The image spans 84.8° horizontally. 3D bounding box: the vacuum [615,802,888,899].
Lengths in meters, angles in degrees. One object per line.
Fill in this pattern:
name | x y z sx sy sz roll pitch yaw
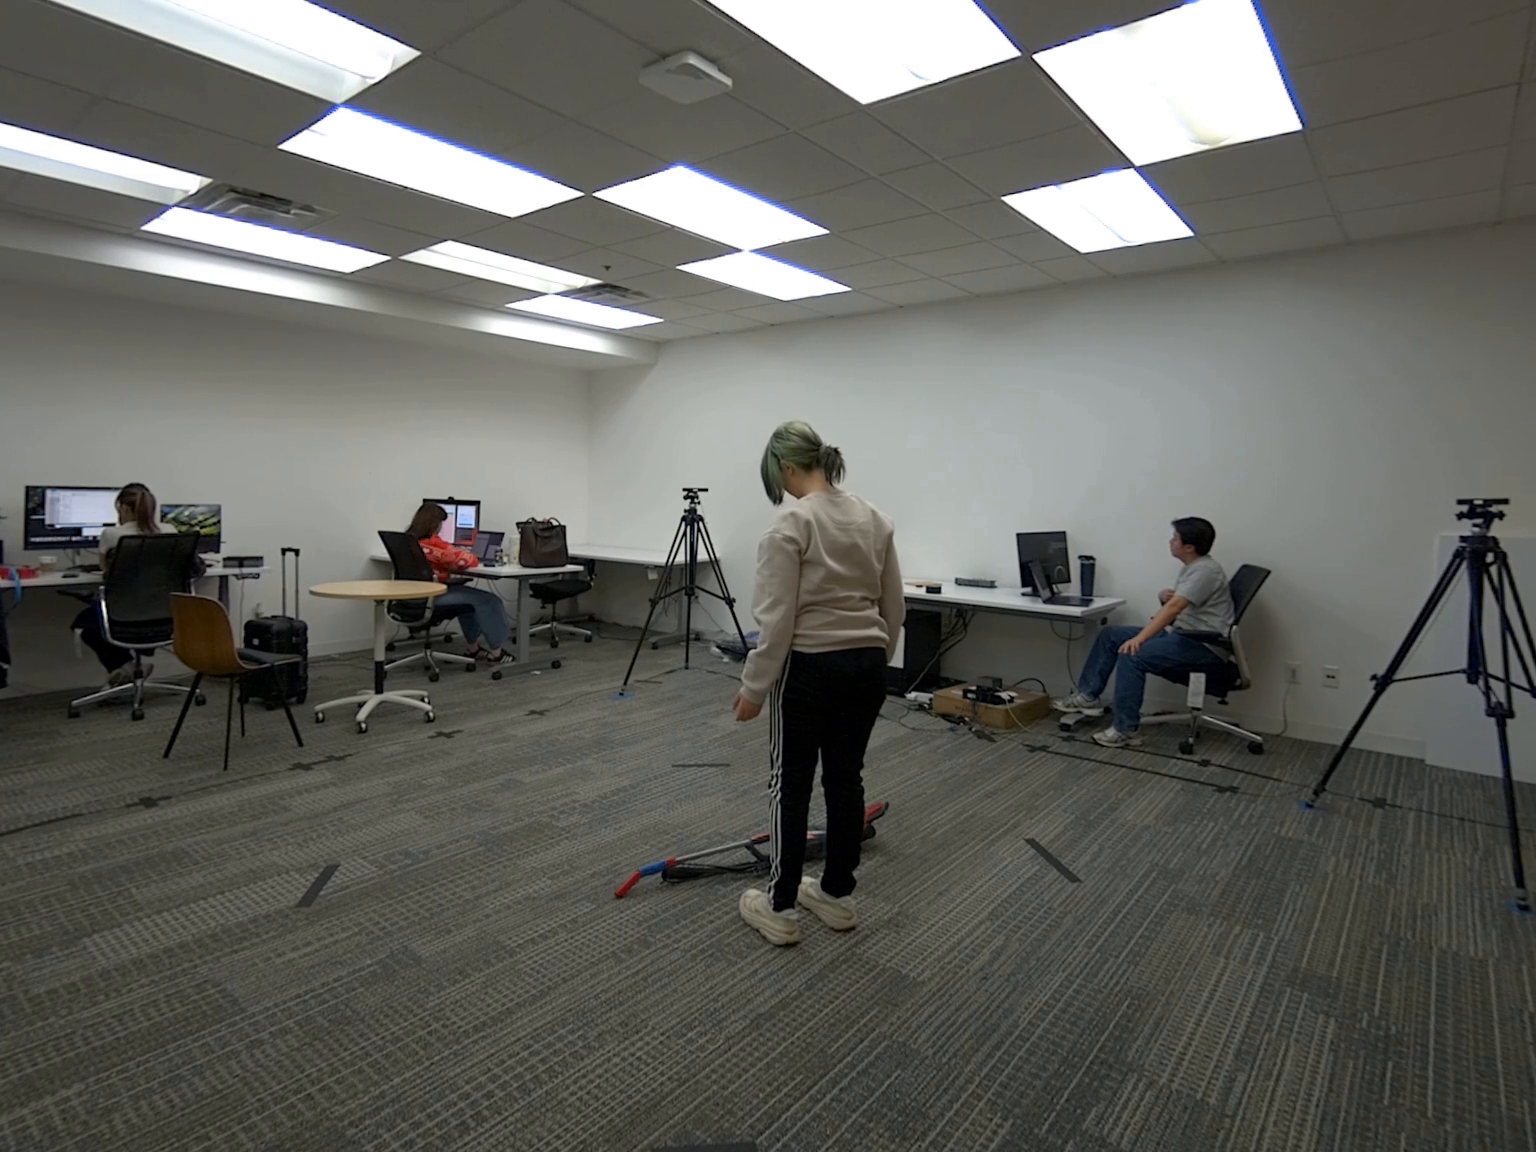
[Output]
vacuum | -0.062 1.022 3.118 1.026 0.148 0.252 -7 -23 -26
